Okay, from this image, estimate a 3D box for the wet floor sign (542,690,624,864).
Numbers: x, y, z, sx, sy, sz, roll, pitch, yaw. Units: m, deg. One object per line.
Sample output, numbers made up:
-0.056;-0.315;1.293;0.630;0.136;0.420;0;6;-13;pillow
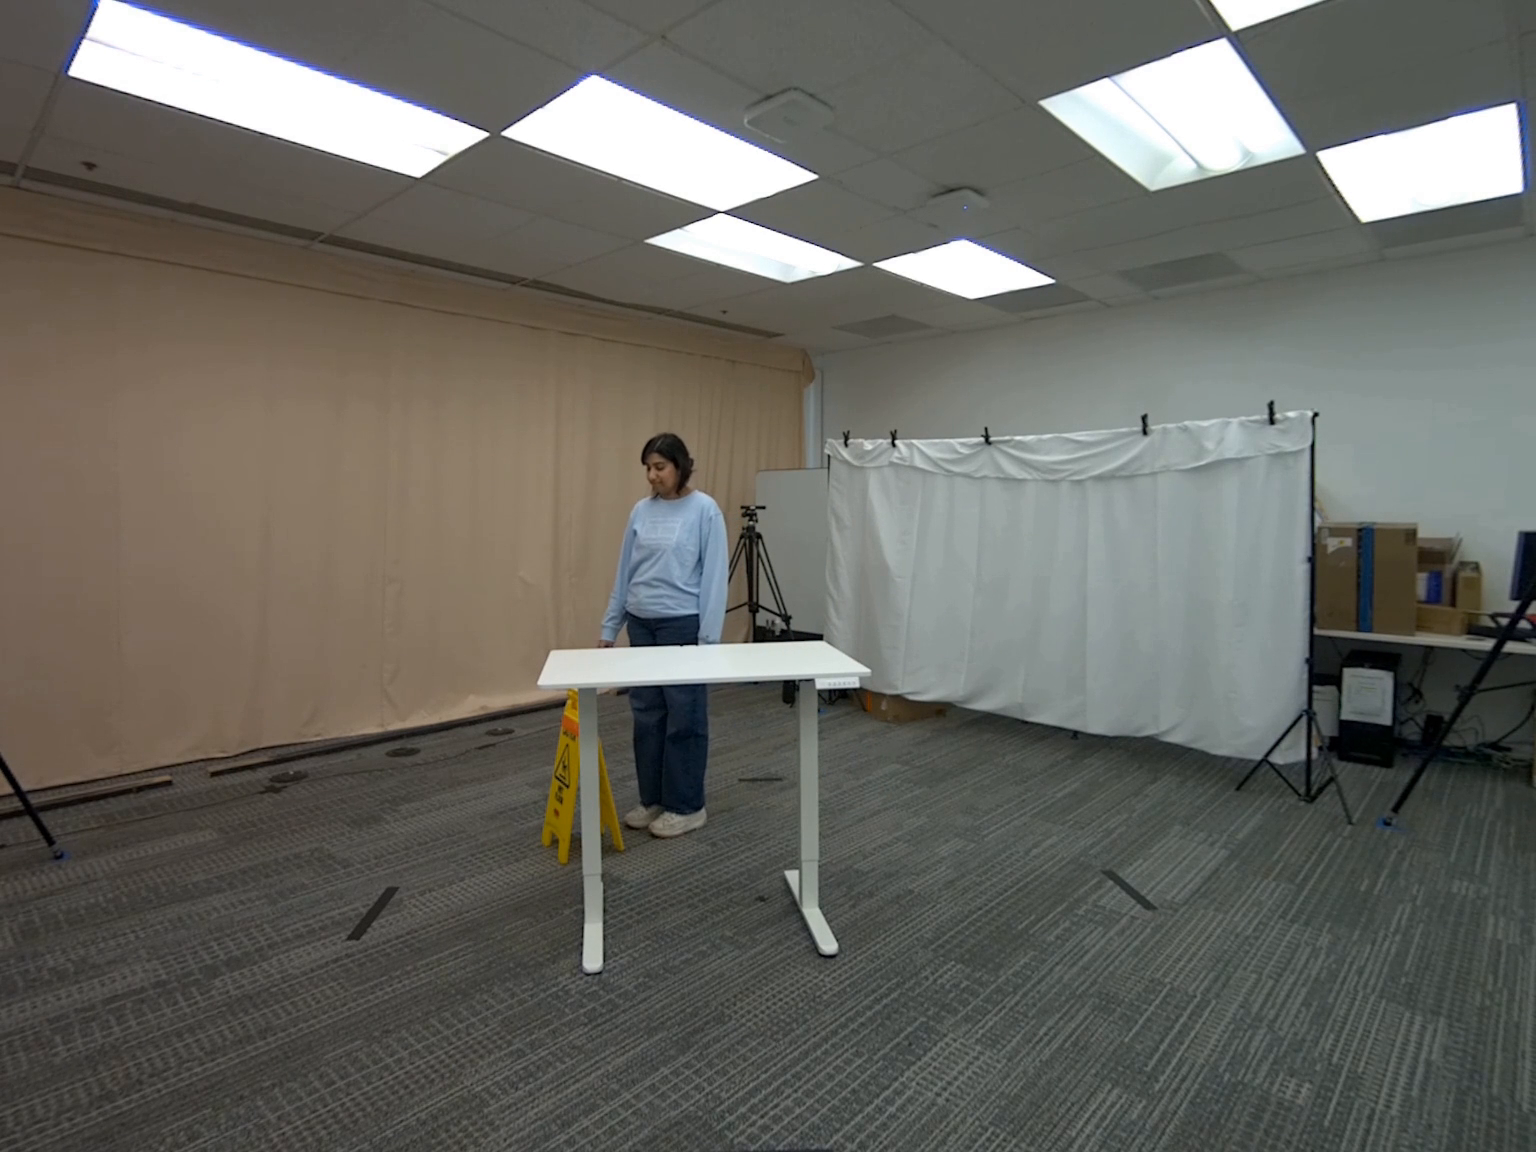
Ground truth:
-0.768;0.789;3.446;0.282;0.645;0.290;-3;3;-30;wet floor sign
